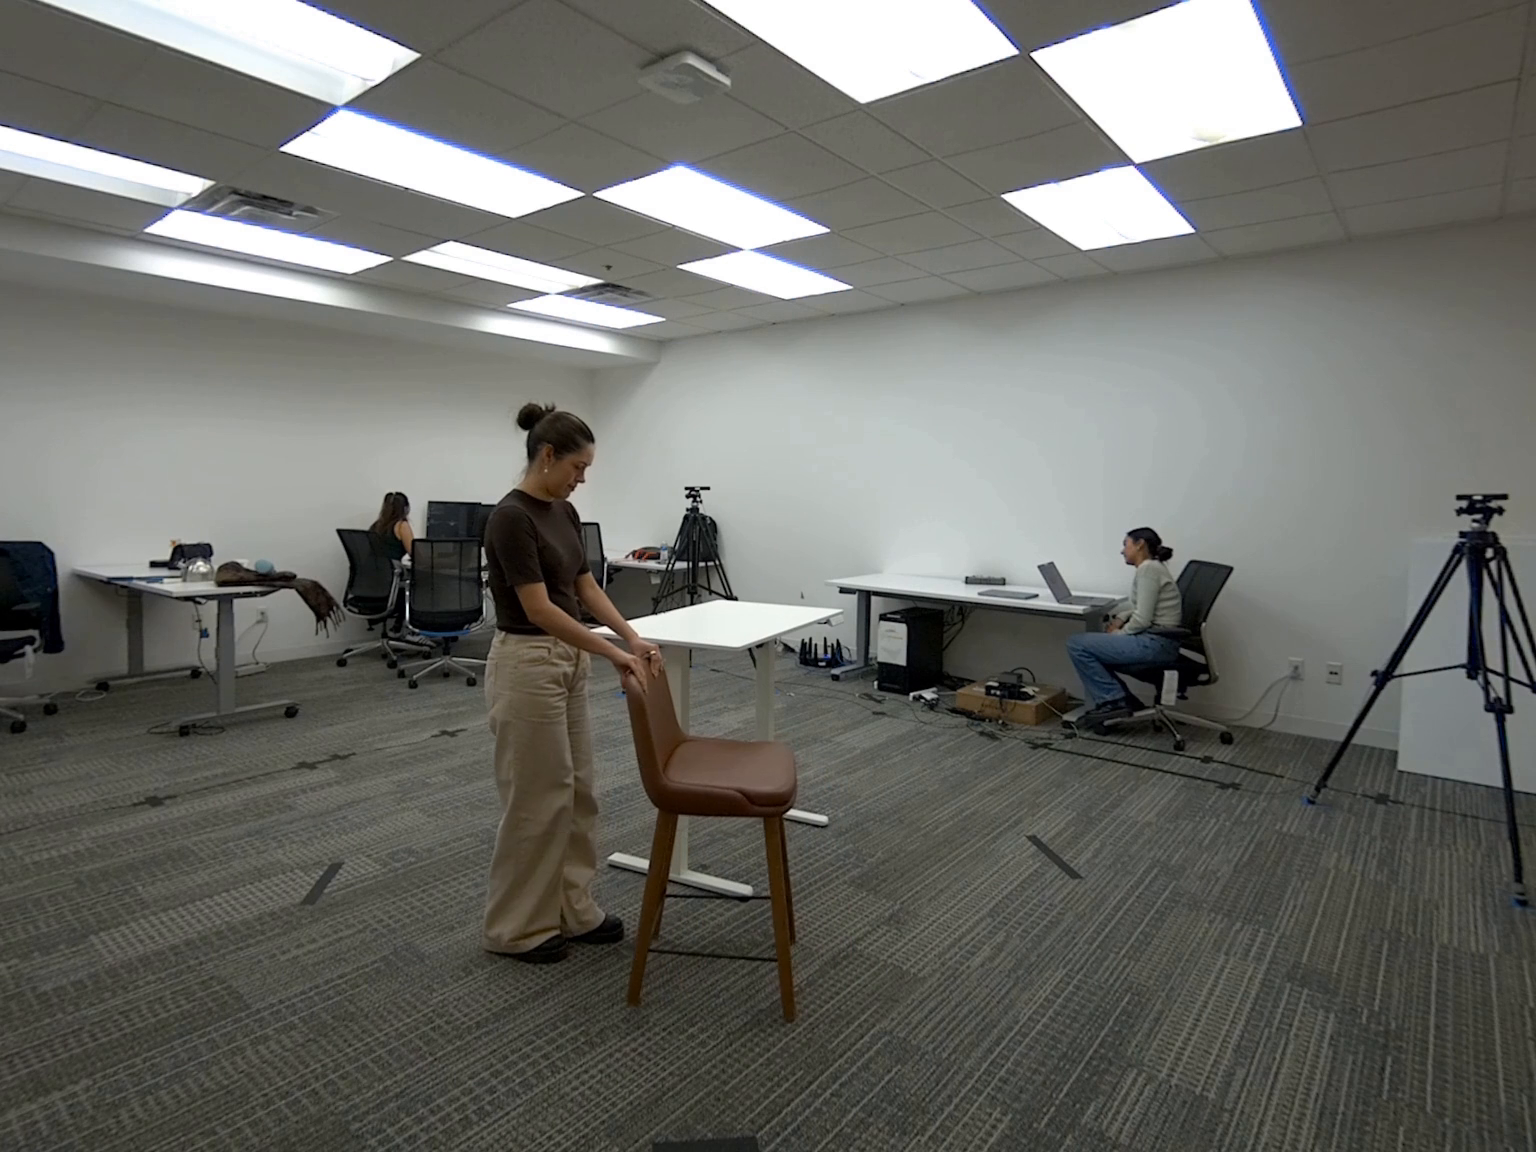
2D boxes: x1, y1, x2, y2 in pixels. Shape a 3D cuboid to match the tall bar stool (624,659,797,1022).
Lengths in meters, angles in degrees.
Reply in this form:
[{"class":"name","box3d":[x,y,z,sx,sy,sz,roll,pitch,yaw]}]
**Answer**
[{"class":"tall bar stool","box3d":[-0.158,0.699,2.413,0.470,0.887,0.456,-2,3,4]}]
